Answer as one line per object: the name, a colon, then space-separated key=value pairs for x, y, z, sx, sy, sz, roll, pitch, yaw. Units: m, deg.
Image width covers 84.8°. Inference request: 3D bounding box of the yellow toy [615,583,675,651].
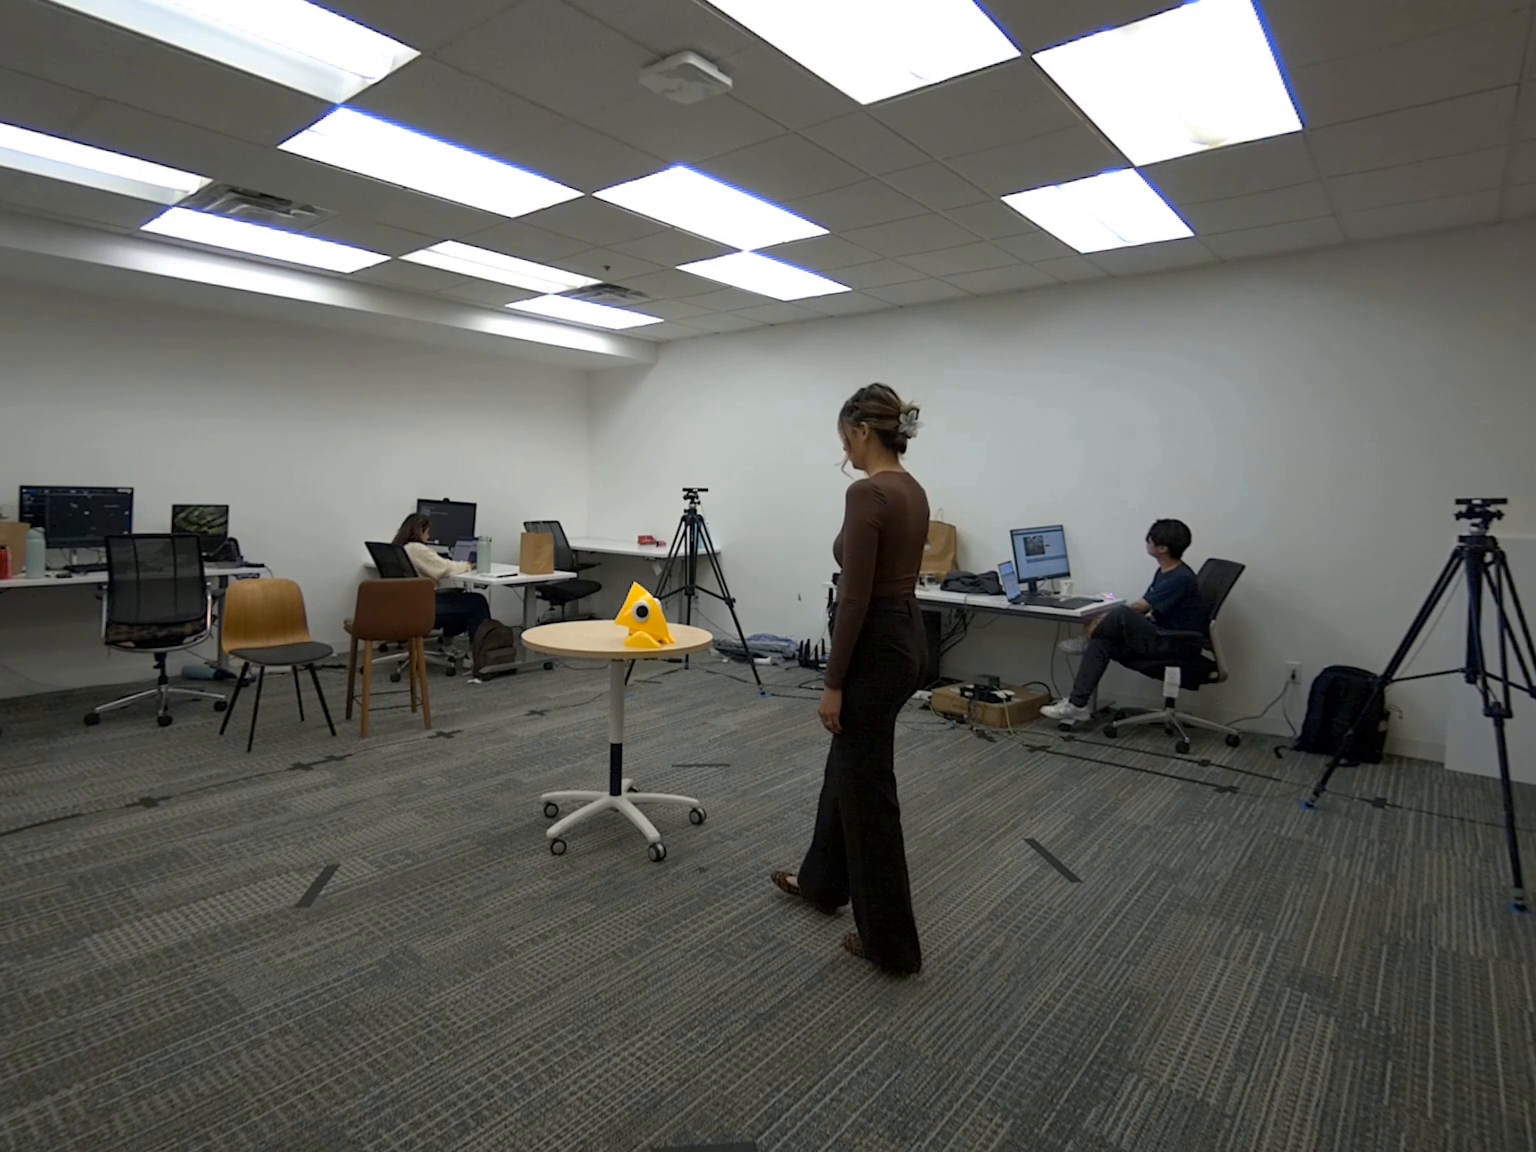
yellow toy: x=-0.472 y=0.140 z=3.249 sx=0.198 sy=0.230 sz=0.200 roll=2 pitch=3 yaw=22
